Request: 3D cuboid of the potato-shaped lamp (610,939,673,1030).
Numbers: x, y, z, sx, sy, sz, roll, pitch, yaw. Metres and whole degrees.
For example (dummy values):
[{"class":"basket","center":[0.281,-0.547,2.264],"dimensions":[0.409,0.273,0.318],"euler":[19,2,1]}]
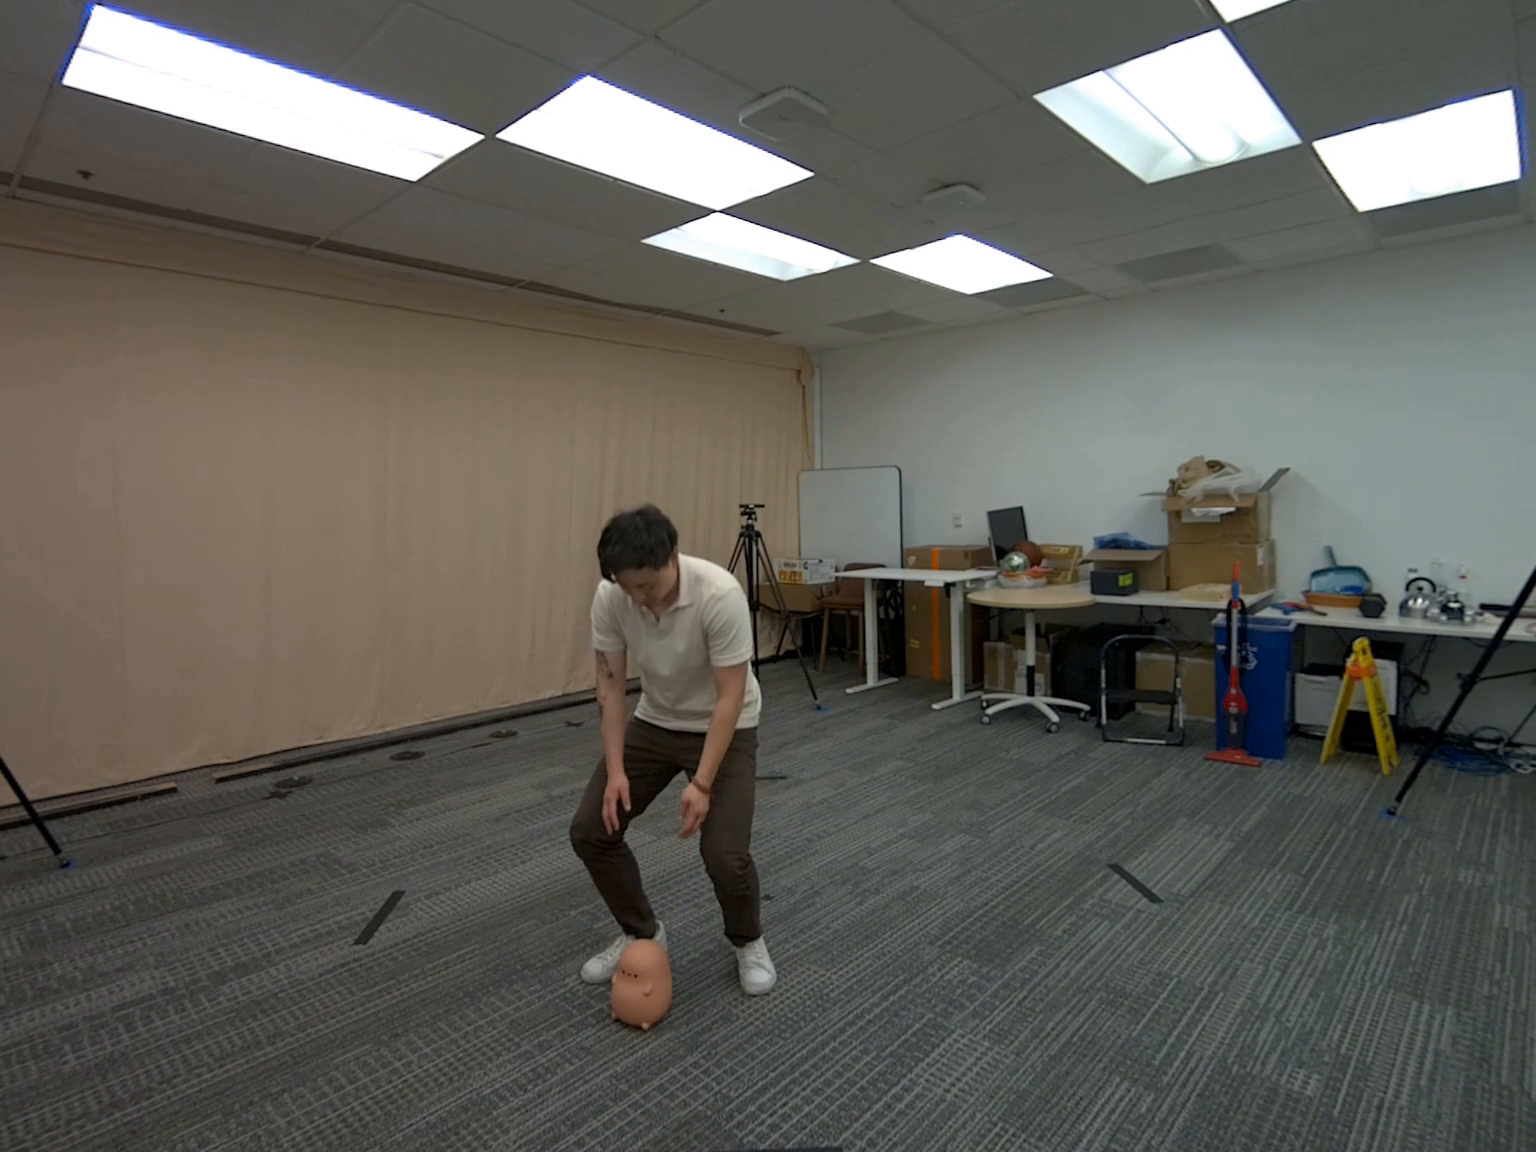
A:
[{"class":"potato-shaped lamp","center":[-0.343,1.106,2.304],"dimensions":[0.169,0.197,0.167],"euler":[3,6,30]}]
